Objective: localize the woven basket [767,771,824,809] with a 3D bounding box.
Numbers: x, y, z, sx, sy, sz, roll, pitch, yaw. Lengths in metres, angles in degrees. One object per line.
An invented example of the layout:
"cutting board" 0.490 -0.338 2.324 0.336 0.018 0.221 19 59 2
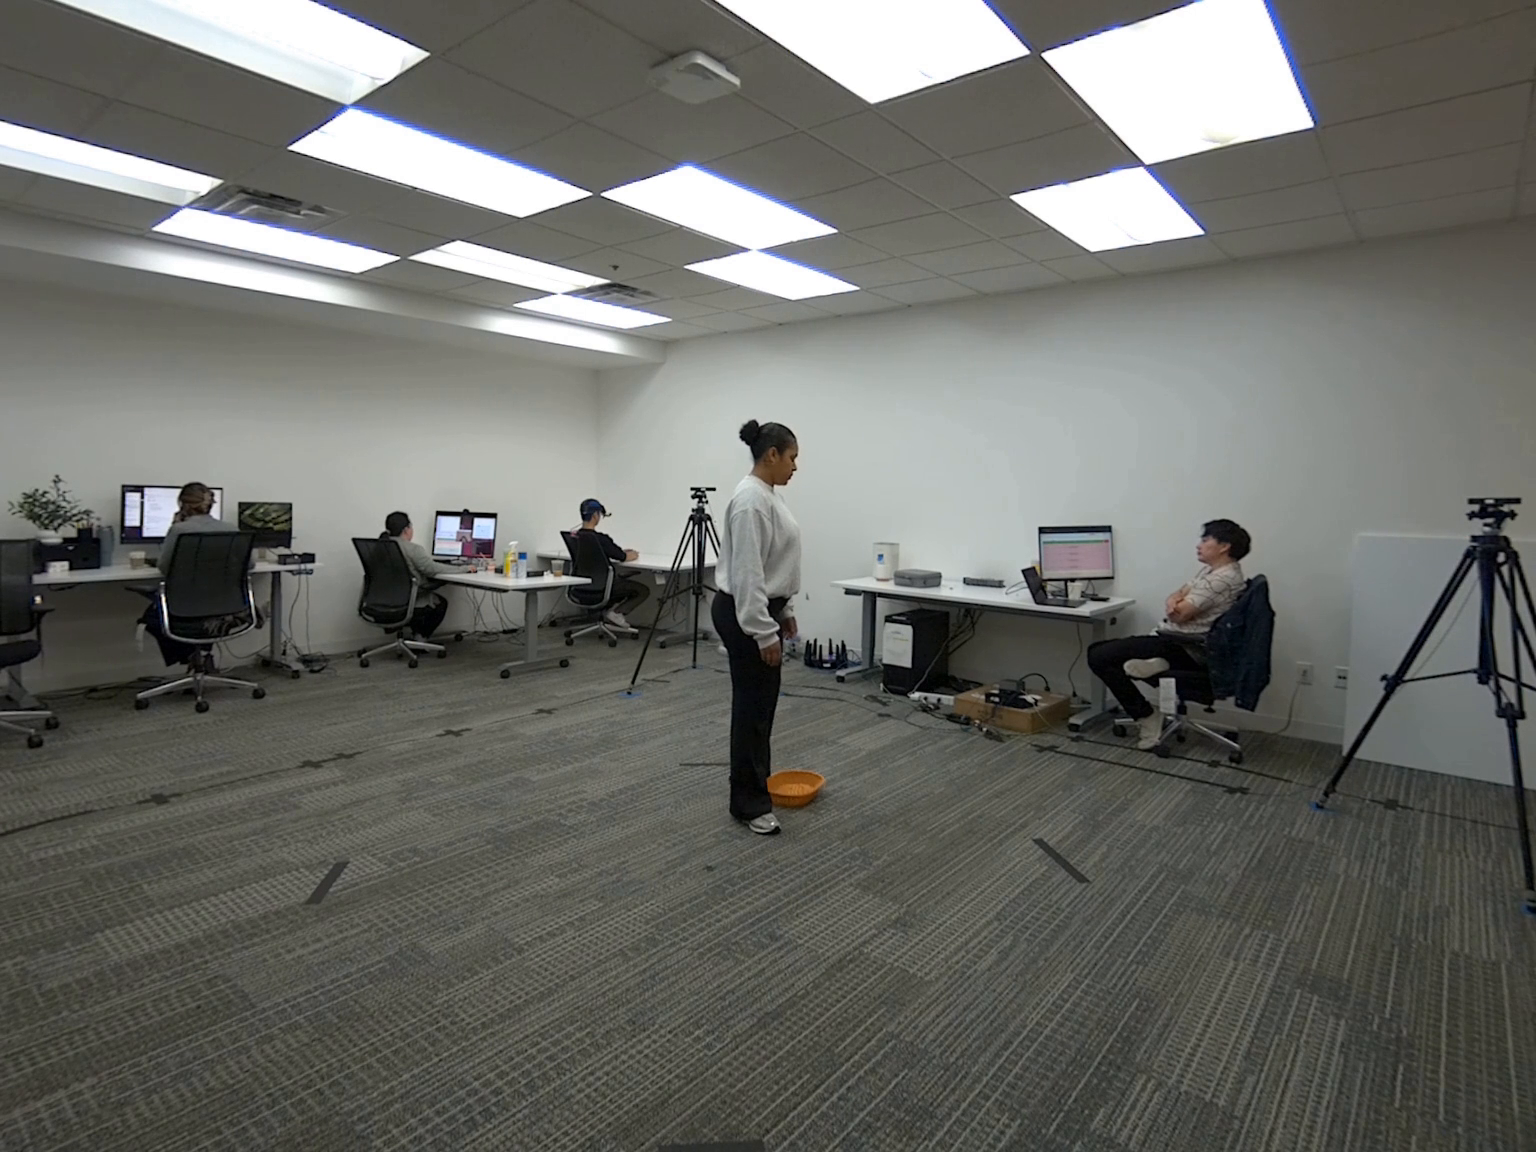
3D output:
"woven basket" 0.110 0.964 3.837 0.259 0.073 0.342 5 8 27
